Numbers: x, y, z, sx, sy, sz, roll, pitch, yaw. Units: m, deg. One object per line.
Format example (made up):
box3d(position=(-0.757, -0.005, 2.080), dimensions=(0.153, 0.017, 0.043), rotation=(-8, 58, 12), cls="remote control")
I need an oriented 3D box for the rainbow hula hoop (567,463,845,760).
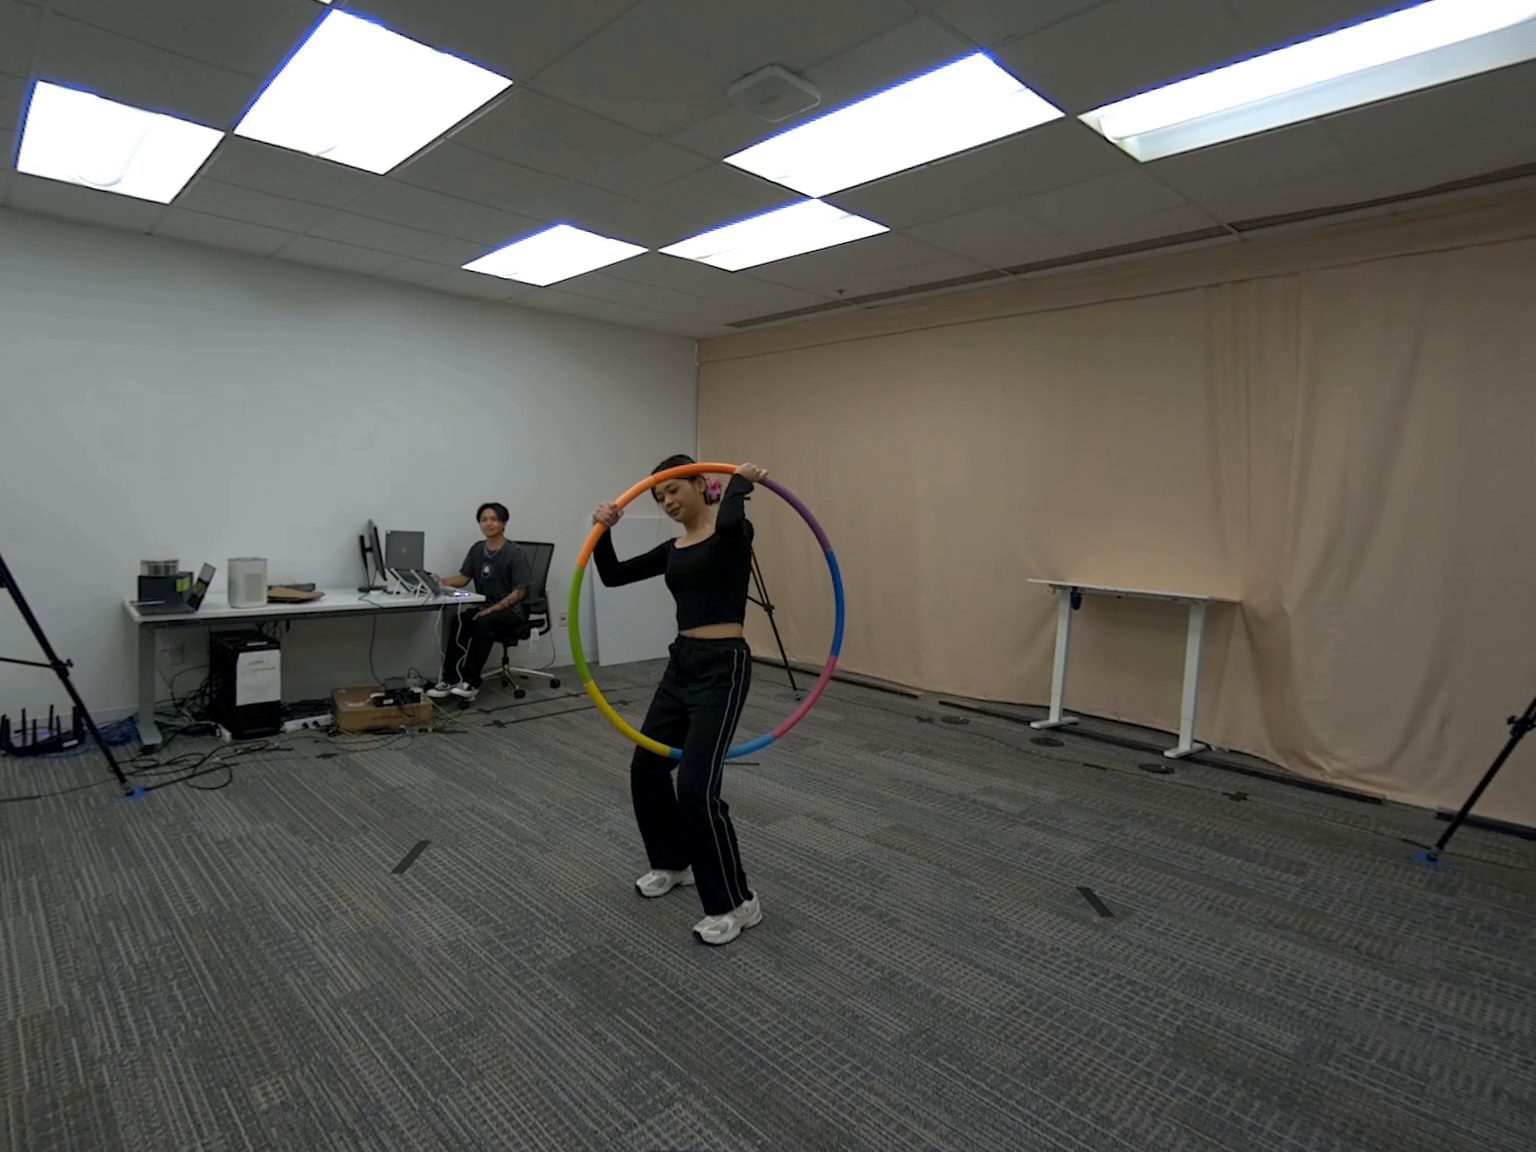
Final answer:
box3d(position=(-0.191, 0.121, 2.816), dimensions=(0.963, 0.979, 0.036), rotation=(0, 0, -22), cls="rainbow hula hoop")
